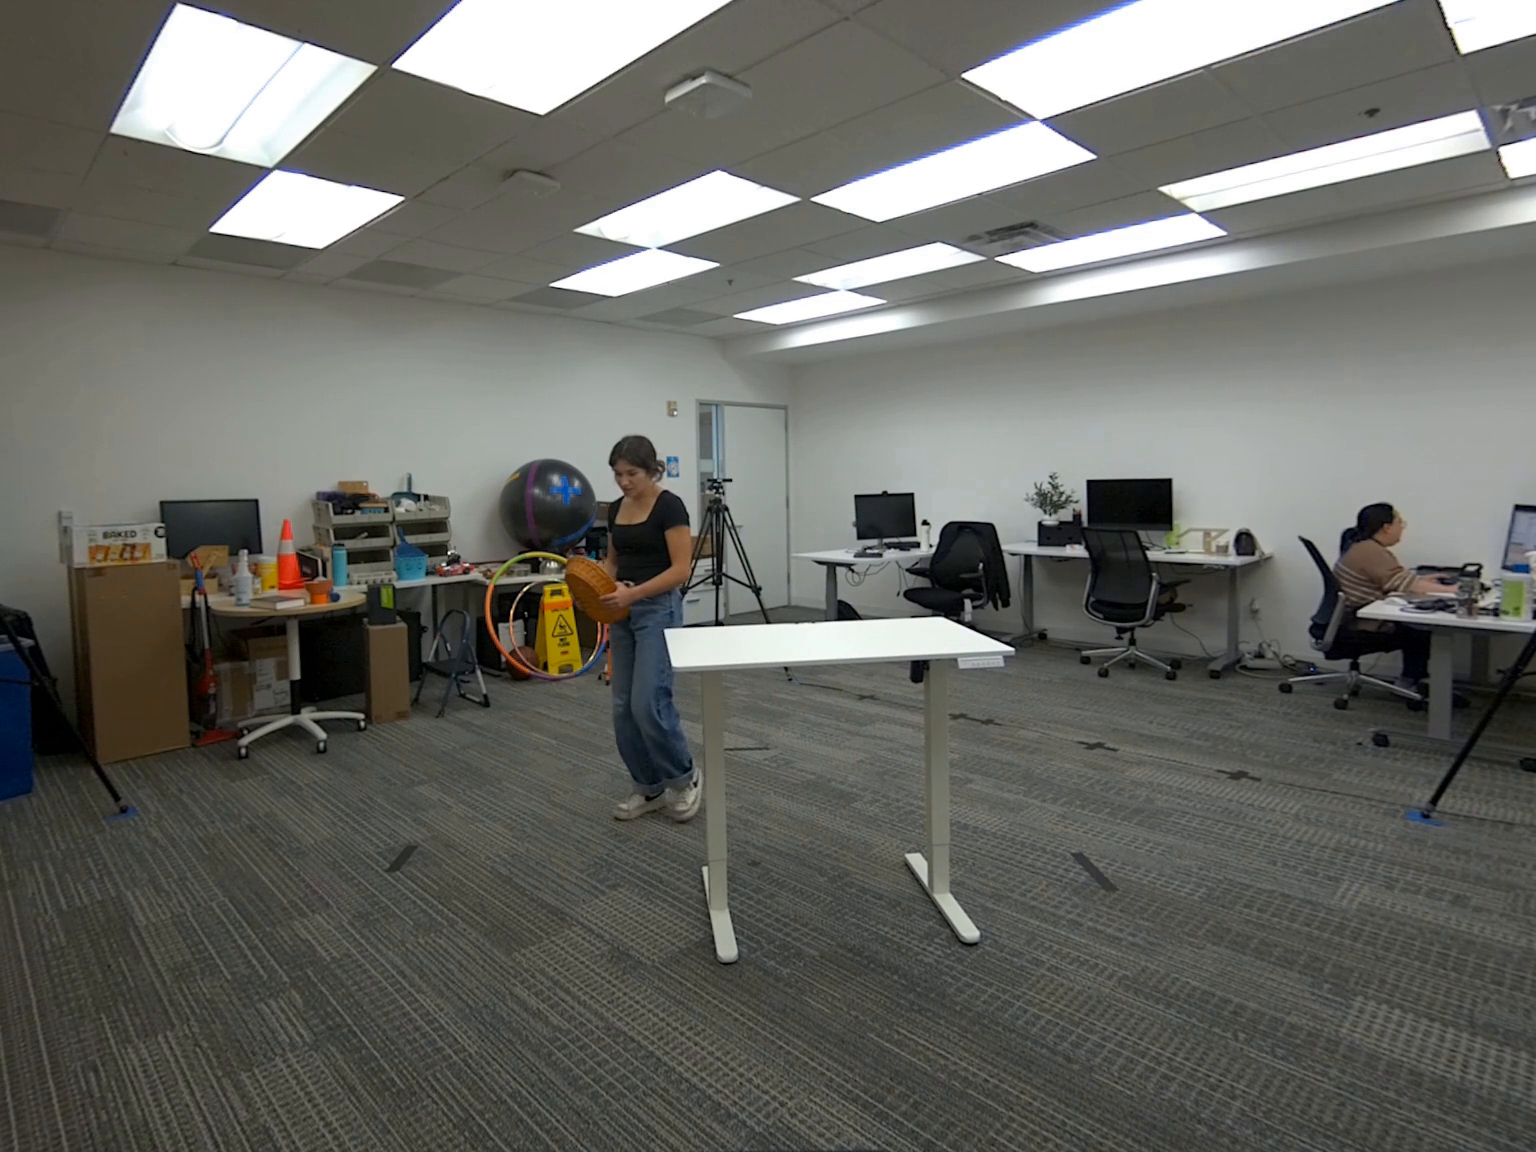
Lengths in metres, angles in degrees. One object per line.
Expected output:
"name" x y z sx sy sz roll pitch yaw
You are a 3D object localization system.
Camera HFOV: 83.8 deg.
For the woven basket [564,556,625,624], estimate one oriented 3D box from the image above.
"woven basket" -0.697 0.070 3.391 0.260 0.339 0.074 2 41 38
